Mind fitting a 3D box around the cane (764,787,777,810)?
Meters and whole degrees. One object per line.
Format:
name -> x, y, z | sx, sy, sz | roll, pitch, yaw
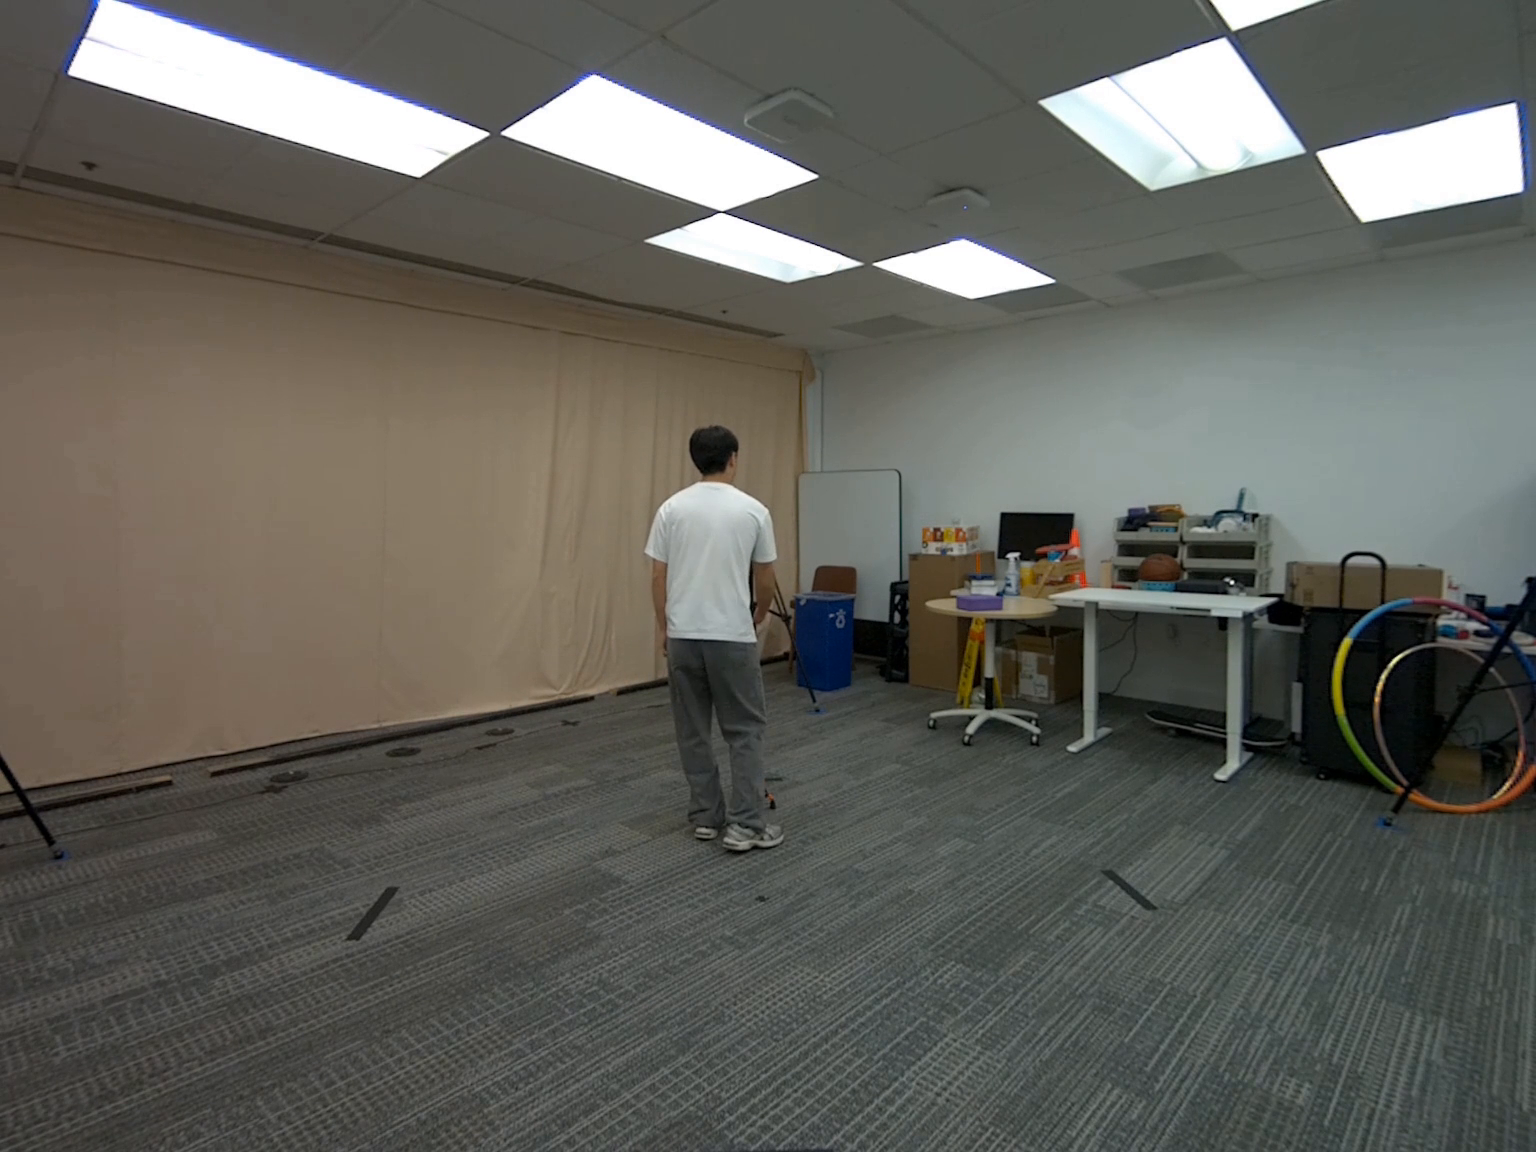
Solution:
cane -> -0.051, 0.608, 3.939 | 0.150, 0.907, 0.209 | -1, 2, -13
